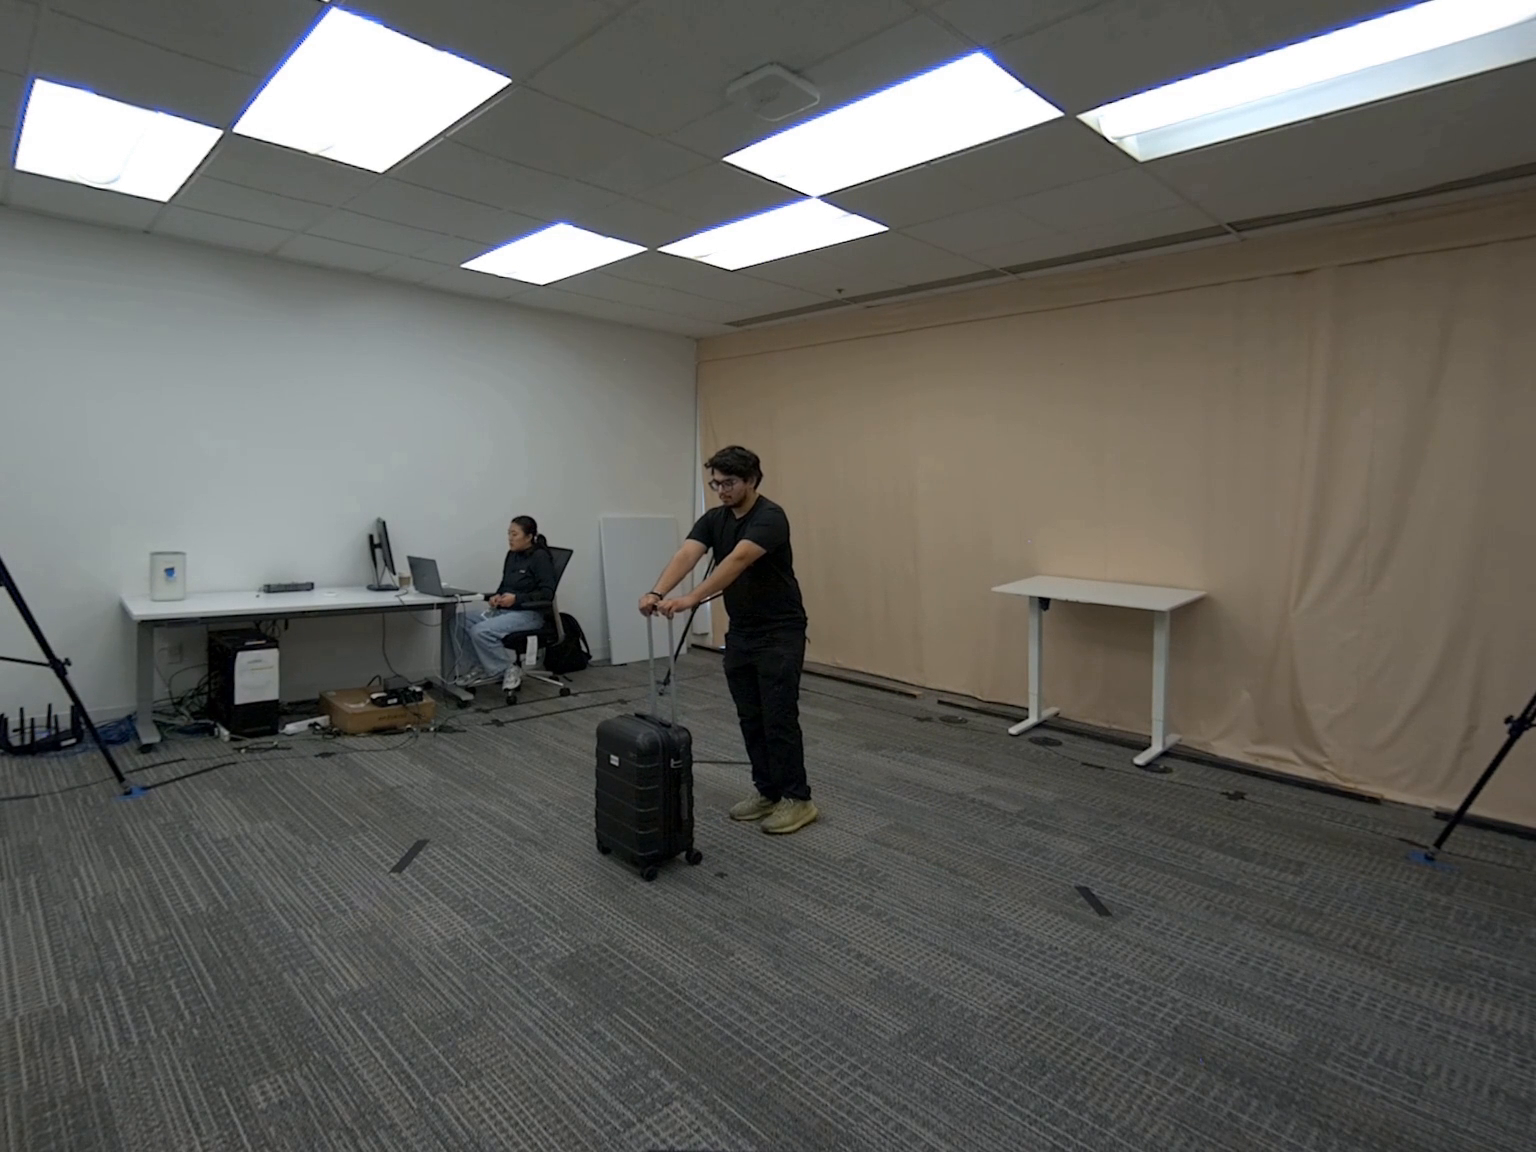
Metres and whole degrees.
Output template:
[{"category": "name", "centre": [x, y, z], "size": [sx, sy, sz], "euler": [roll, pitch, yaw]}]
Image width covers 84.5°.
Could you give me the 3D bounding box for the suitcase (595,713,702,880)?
[{"category": "suitcase", "centre": [-0.485, 0.615, 3.182], "size": [0.252, 0.974, 0.394], "euler": [-7, 8, -41]}]
